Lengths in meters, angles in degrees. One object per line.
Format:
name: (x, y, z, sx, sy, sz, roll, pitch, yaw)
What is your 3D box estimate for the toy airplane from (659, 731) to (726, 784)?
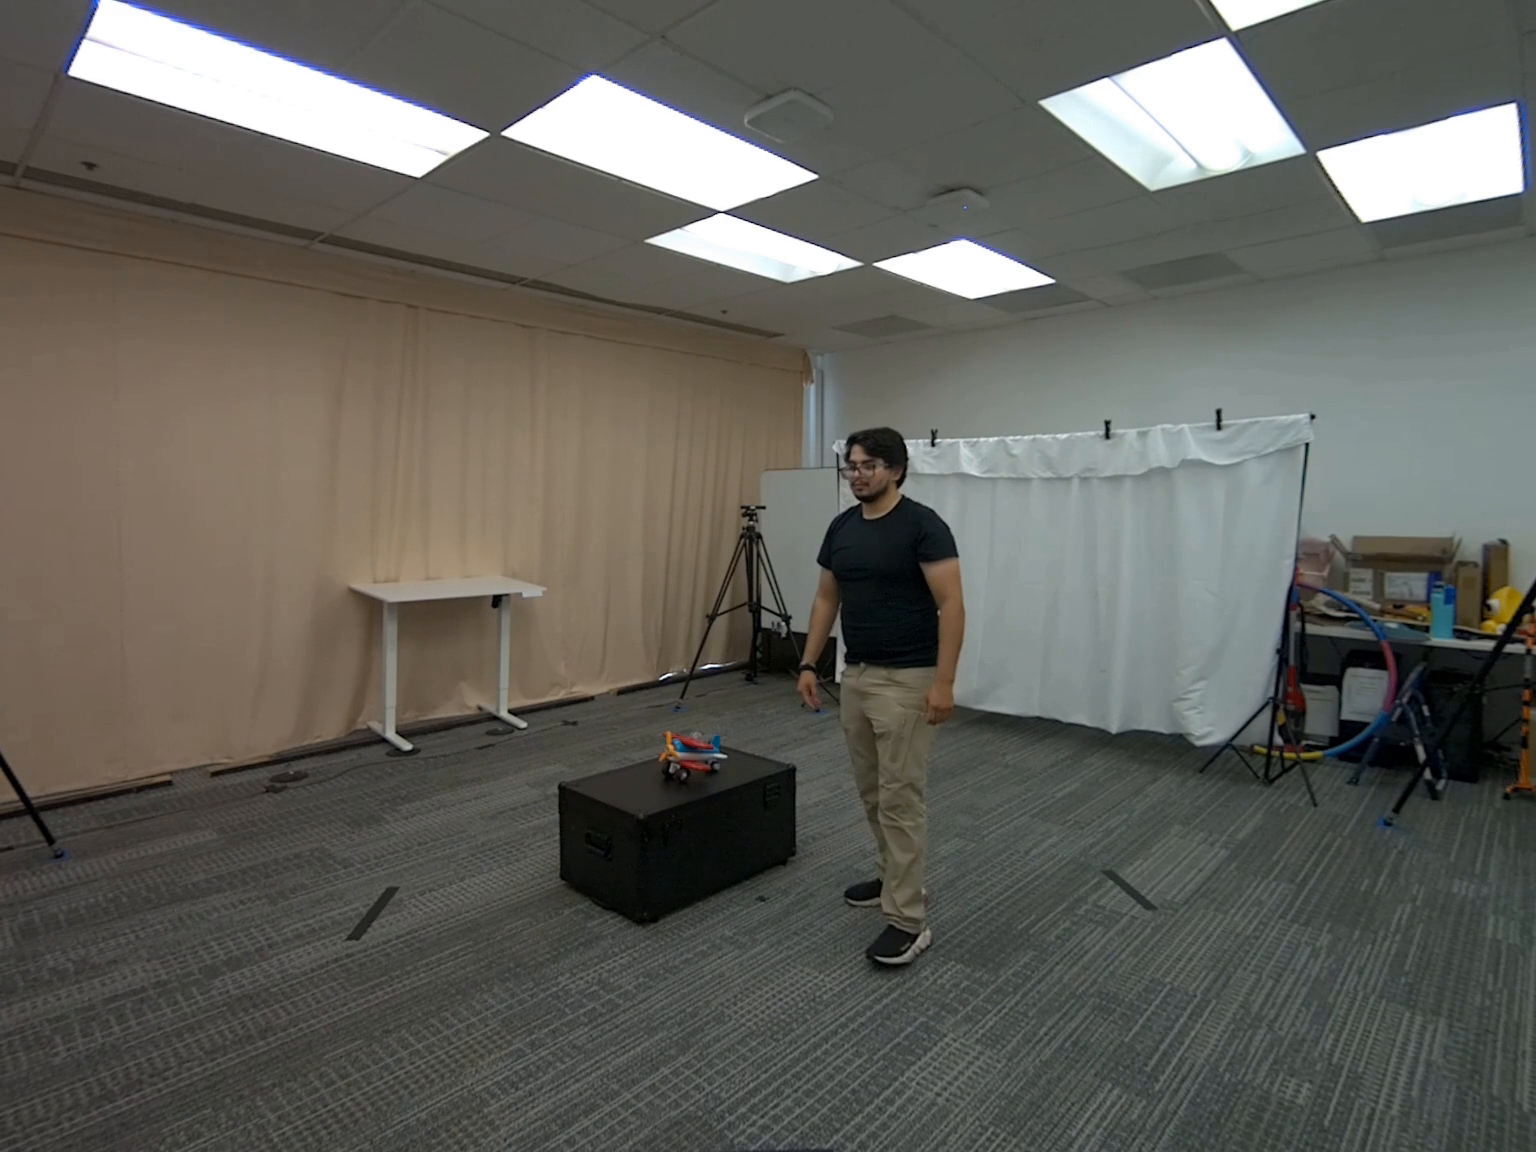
toy airplane: (-0.291, 0.675, 3.201, 0.256, 0.156, 0.255, 1, 6, 19)
